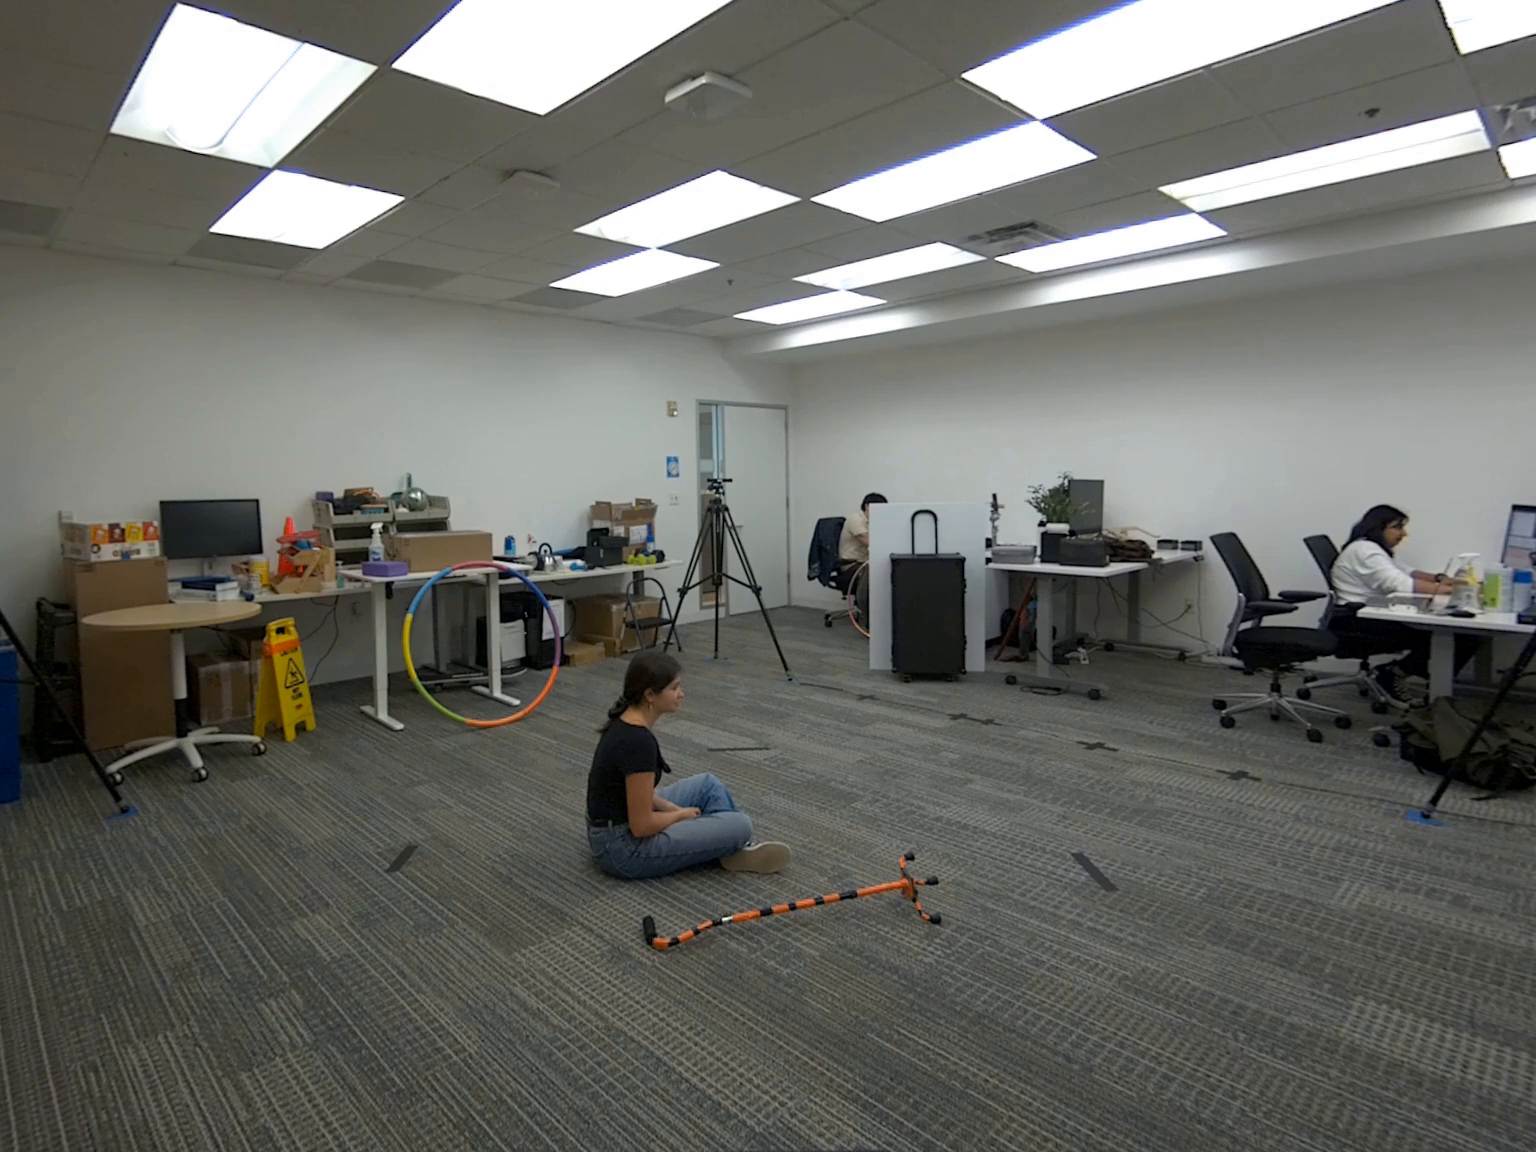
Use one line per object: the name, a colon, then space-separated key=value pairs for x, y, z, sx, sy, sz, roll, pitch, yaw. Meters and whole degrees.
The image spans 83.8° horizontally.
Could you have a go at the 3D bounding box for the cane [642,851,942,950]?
cane: x=0.077 y=1.047 z=2.679 sx=0.900 sy=0.151 sz=0.210 roll=-7 pitch=7 yaw=-10
